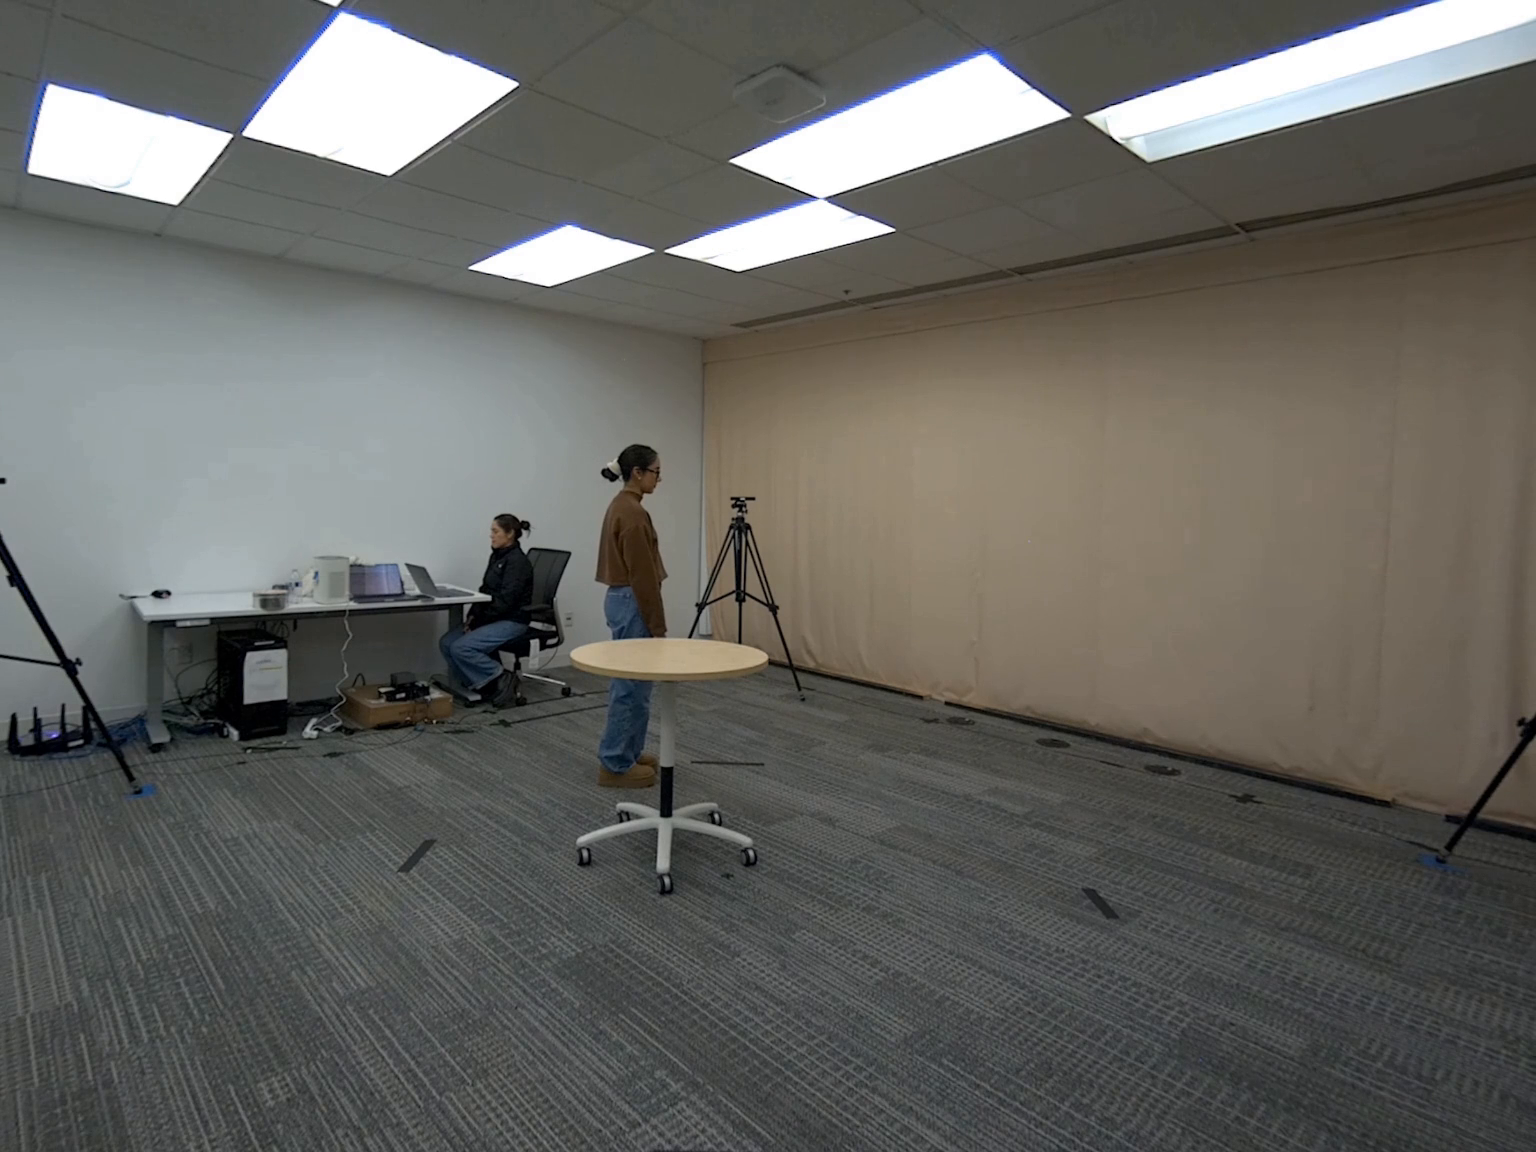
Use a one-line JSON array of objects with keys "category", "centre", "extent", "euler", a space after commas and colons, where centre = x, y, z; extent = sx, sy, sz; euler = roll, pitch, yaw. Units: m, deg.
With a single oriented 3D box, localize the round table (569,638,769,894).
[{"category": "round table", "centre": [-0.403, 0.699, 3.292], "extent": [0.763, 0.792, 0.766], "euler": [1, 3, -1]}]
